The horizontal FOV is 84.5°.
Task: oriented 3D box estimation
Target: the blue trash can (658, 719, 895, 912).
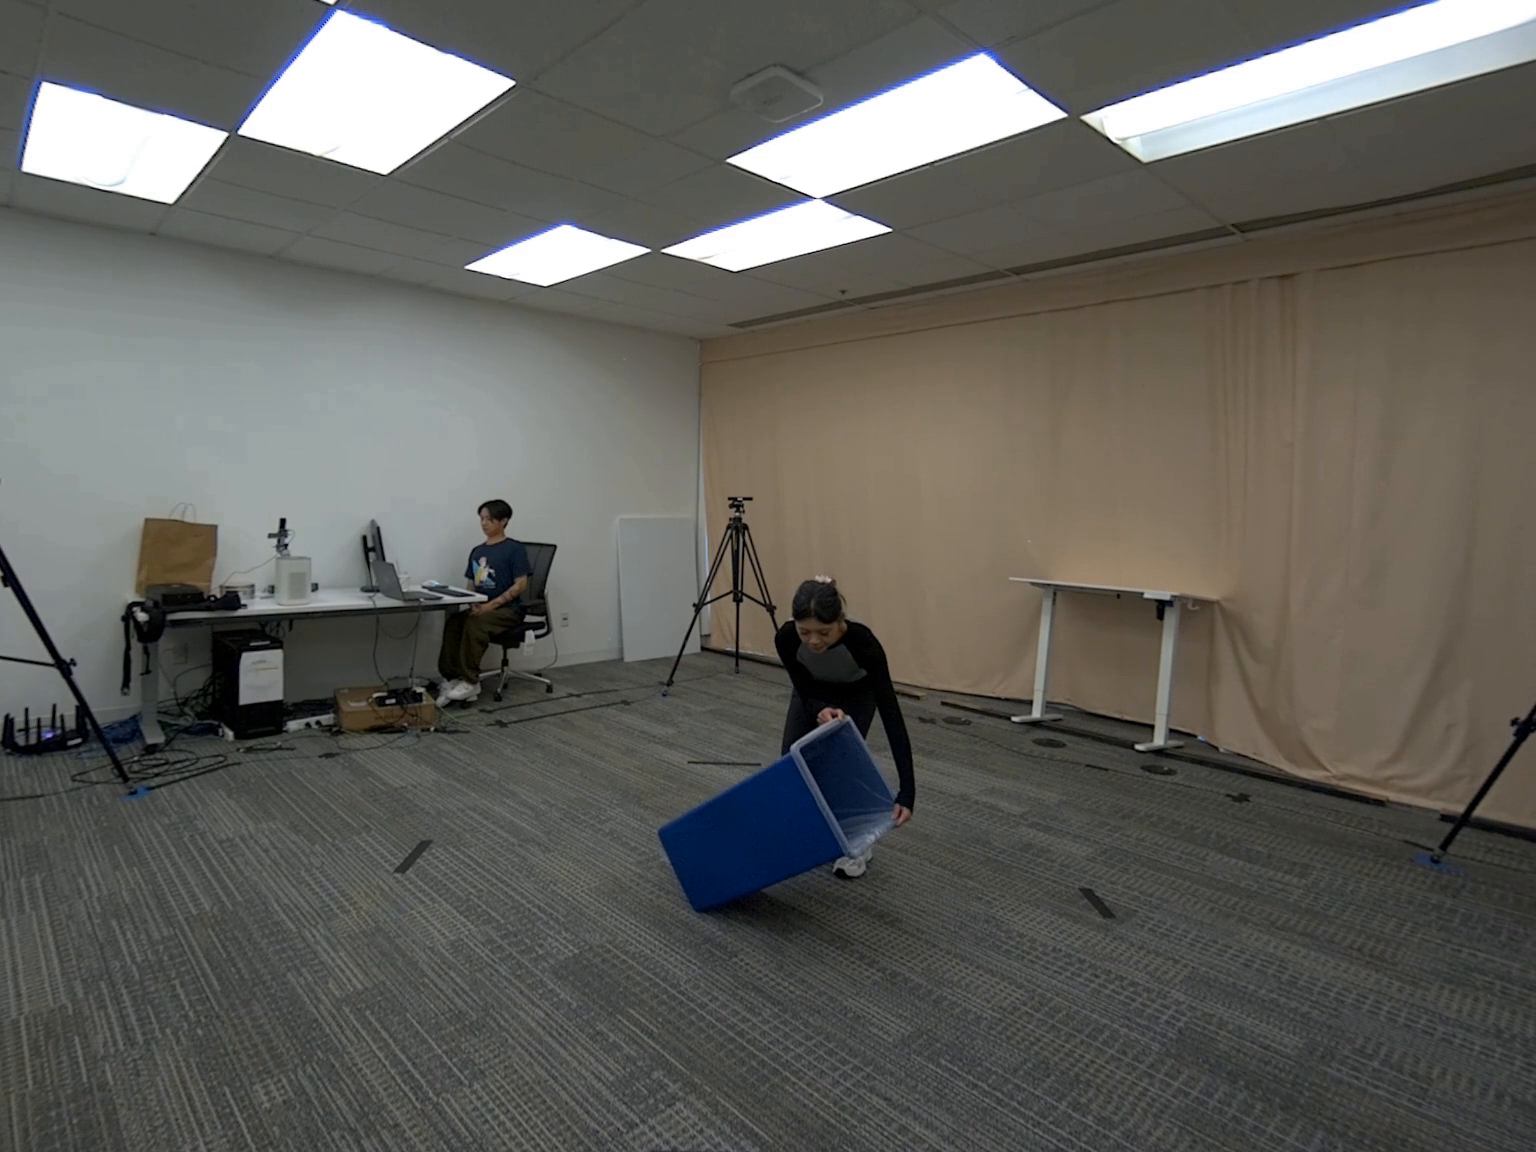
[{"bbox_3d":[0.001,0.813,2.792,0.717,0.383,0.367,-36,-14,33],"label":"blue trash can"}]
